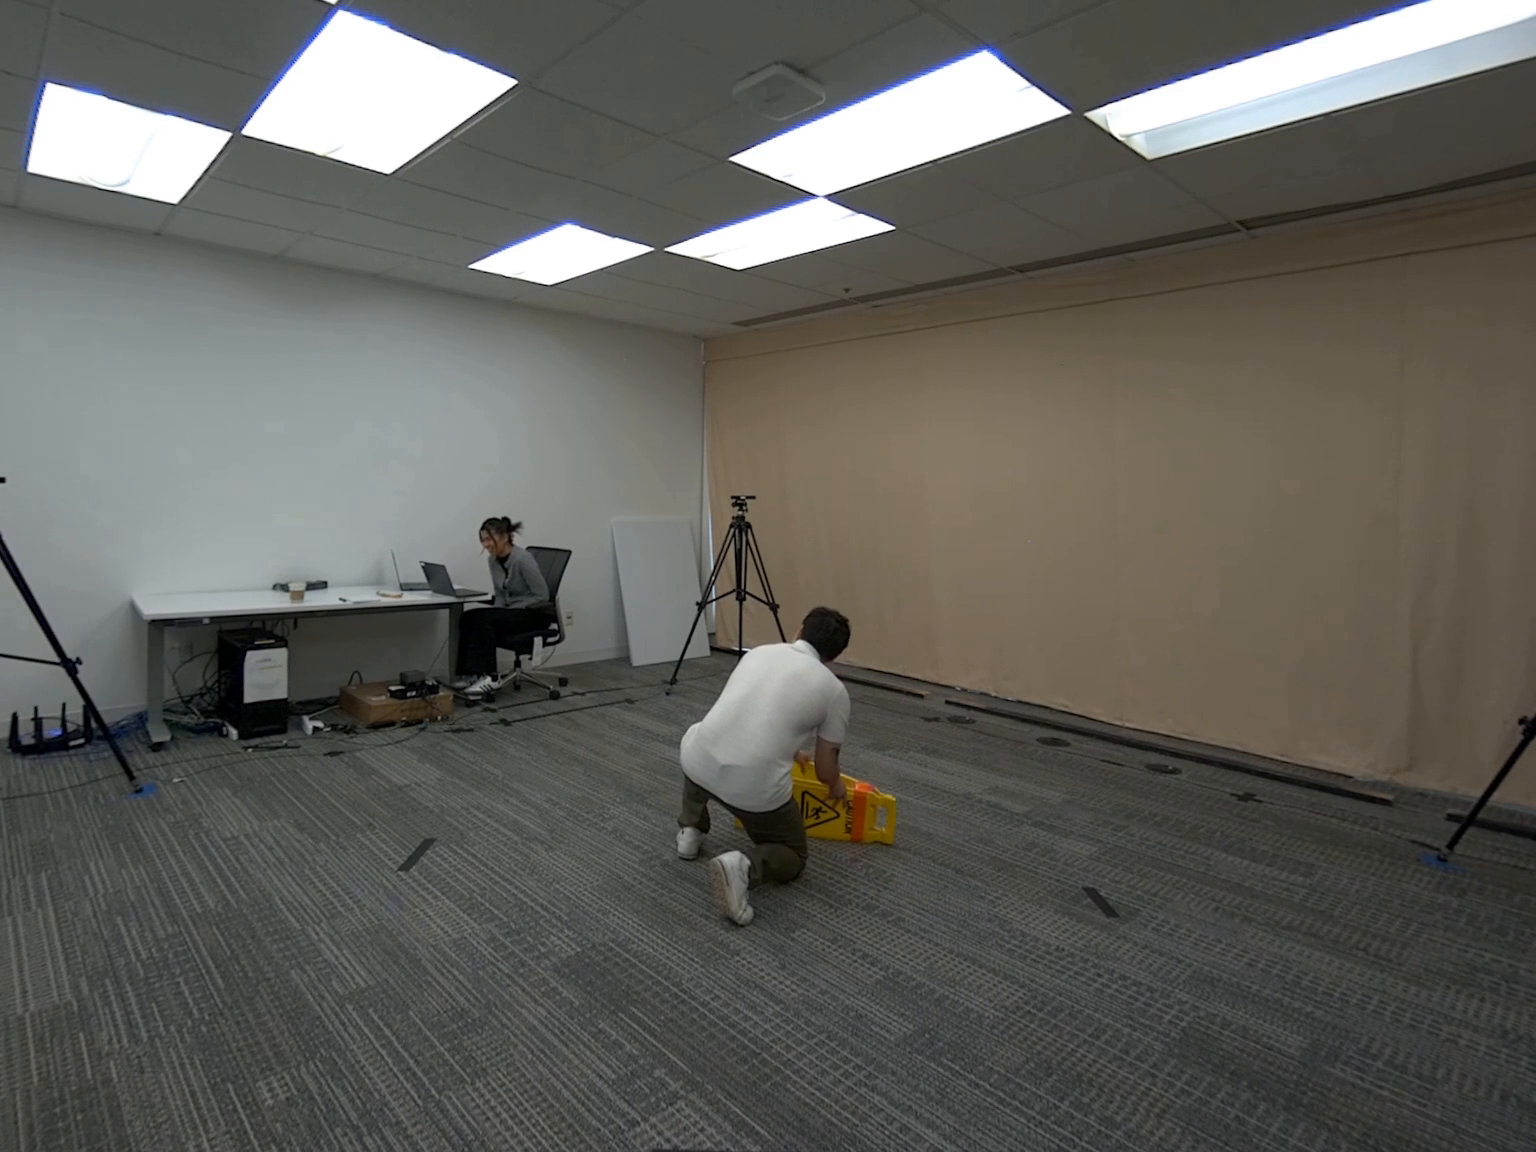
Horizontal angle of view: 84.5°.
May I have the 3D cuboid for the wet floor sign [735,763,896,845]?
[{"bbox_3d":[0.207,0.939,3.516,0.659,0.280,0.286,7,14,25],"label":"wet floor sign"}]
